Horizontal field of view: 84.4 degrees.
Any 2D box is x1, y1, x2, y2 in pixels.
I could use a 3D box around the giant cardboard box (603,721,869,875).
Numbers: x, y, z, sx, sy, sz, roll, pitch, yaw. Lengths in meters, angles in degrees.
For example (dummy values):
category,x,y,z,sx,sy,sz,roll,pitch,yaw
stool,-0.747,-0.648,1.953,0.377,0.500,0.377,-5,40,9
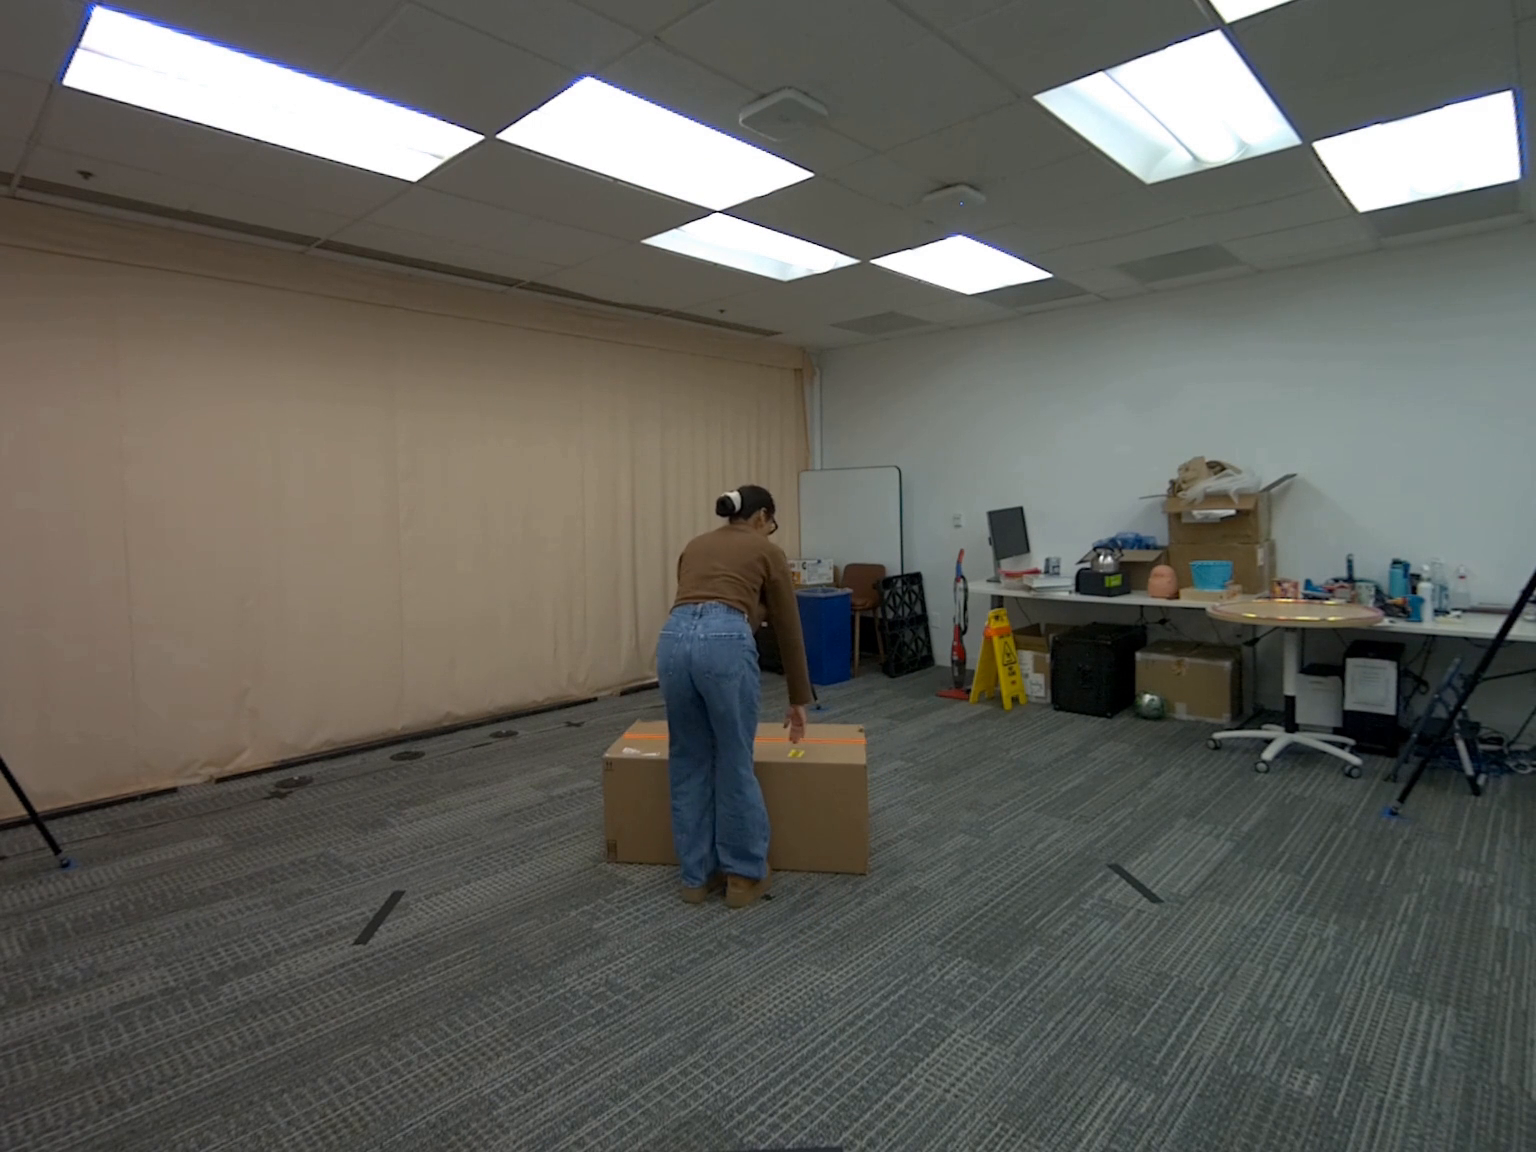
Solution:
category,x,y,z,sx,sy,sz,roll,pitch,yaw
giant cardboard box,-0.110,0.883,3.499,1.035,0.425,0.574,0,5,8
